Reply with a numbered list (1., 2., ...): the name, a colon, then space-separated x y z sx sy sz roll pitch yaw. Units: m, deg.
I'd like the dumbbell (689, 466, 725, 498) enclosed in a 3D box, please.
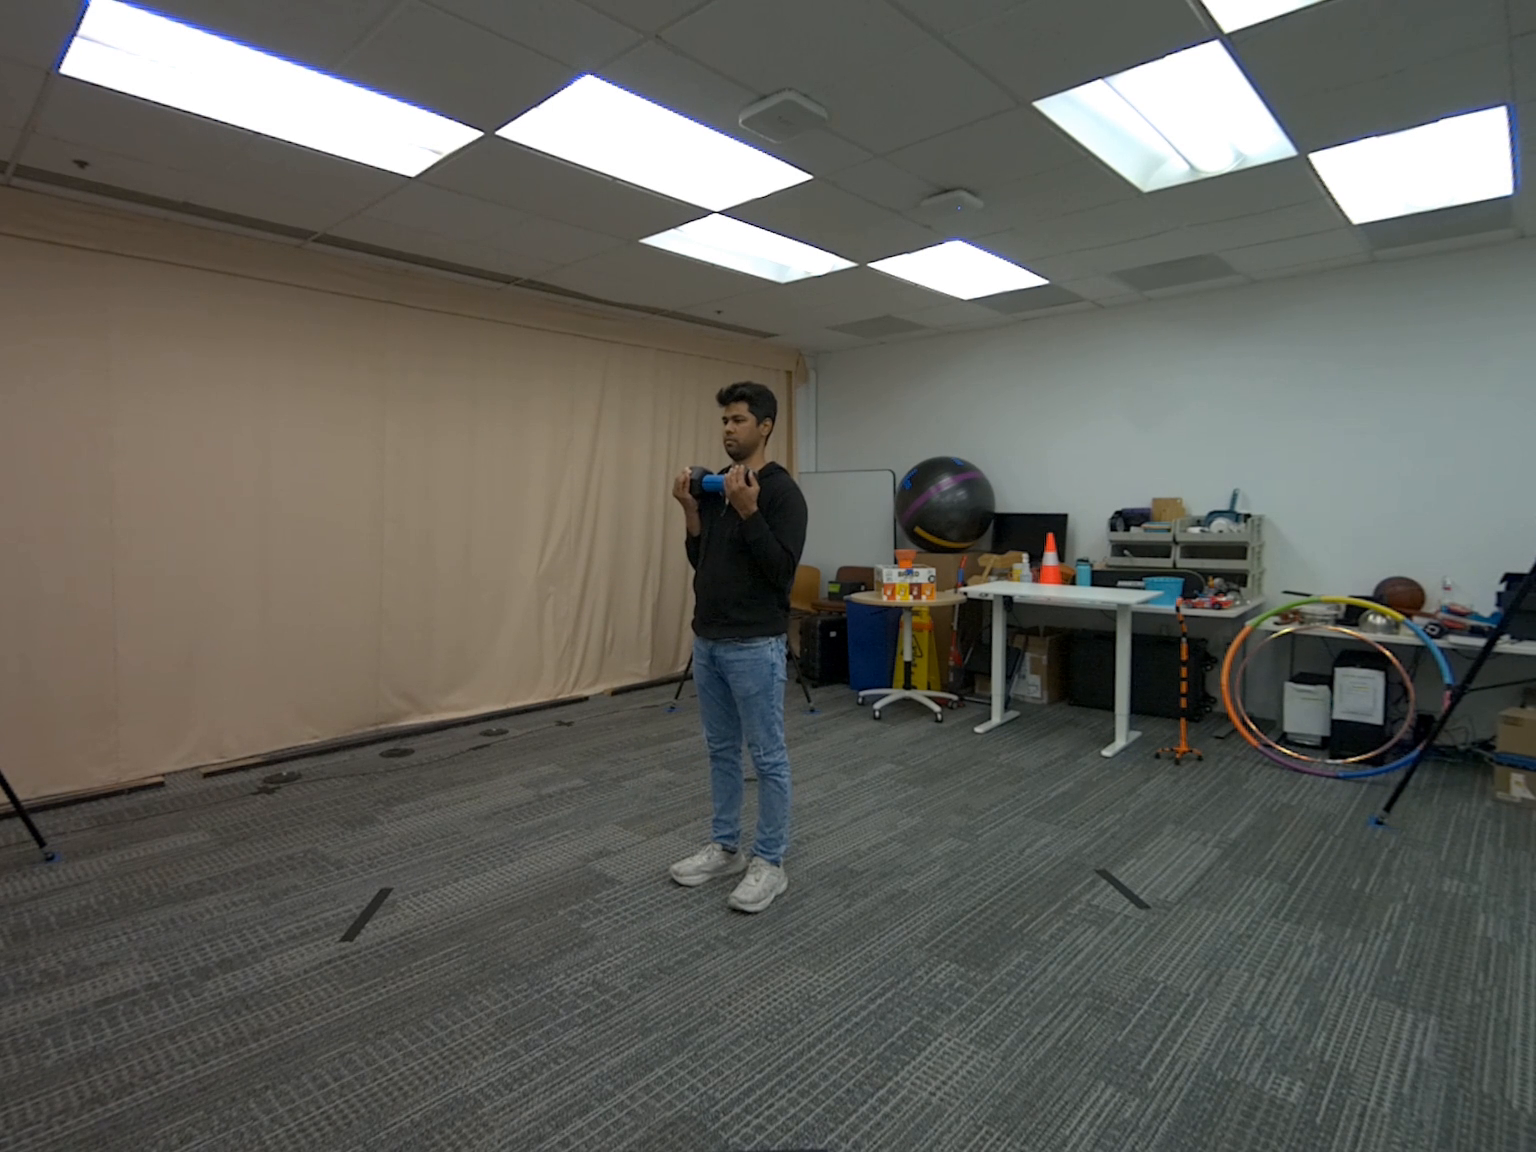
1. dumbbell: -0.162 -0.315 2.951 0.303 0.109 0.118 7 -9 42
